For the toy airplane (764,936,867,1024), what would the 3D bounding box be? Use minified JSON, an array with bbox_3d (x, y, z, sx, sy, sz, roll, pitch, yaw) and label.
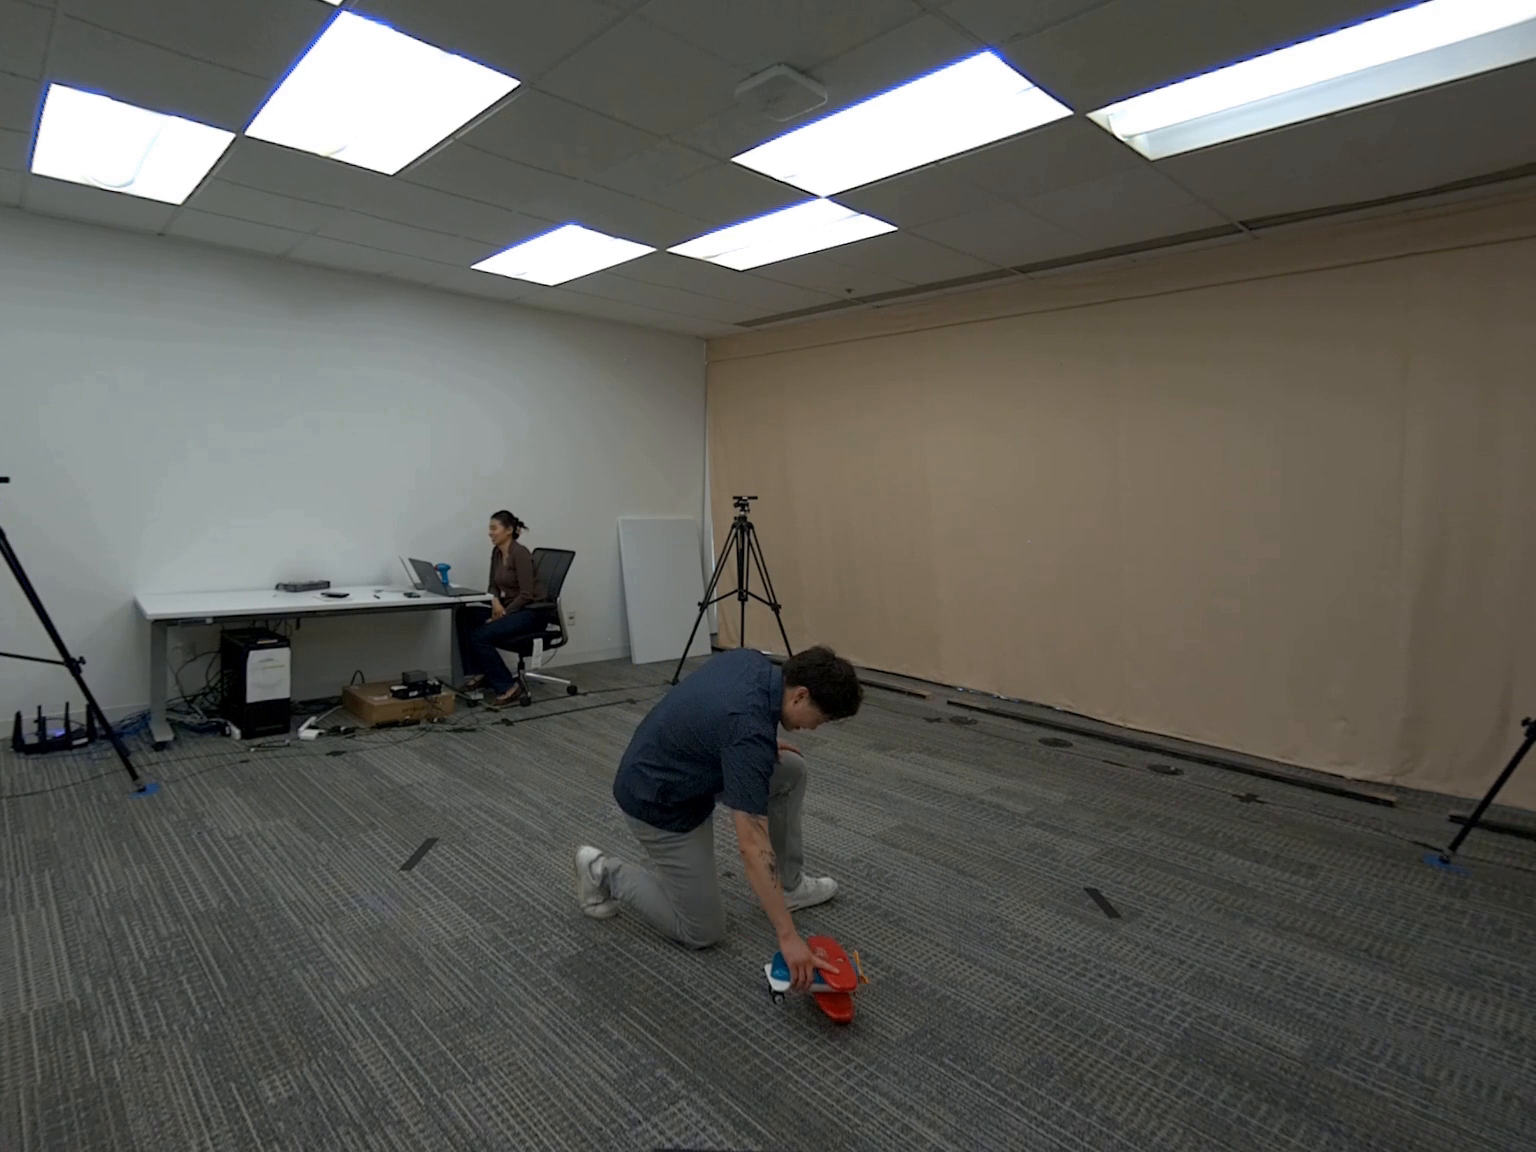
[{"bbox_3d":[0.129,1.097,2.243,0.251,0.156,0.258,20,0,-41],"label":"toy airplane"}]
